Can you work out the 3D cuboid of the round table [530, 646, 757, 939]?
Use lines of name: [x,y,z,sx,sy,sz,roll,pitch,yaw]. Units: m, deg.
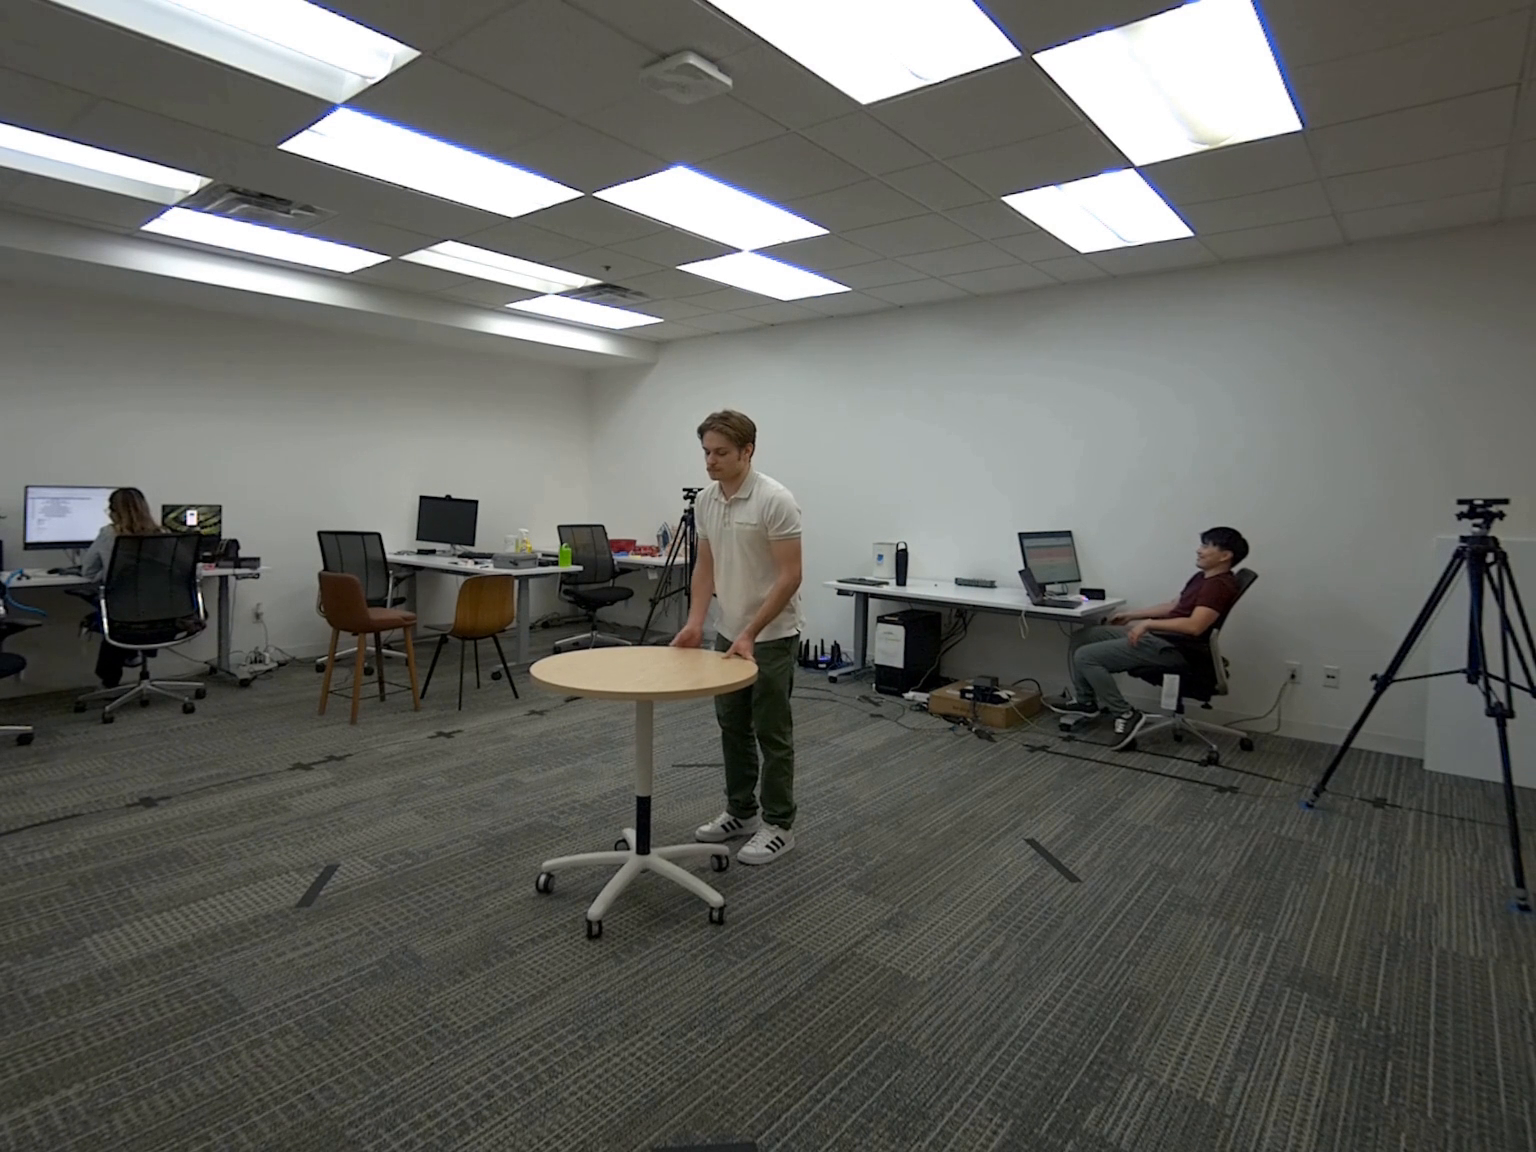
round table: [-0.430,0.698,2.897,0.763,0.791,0.767,1,4,-2]
